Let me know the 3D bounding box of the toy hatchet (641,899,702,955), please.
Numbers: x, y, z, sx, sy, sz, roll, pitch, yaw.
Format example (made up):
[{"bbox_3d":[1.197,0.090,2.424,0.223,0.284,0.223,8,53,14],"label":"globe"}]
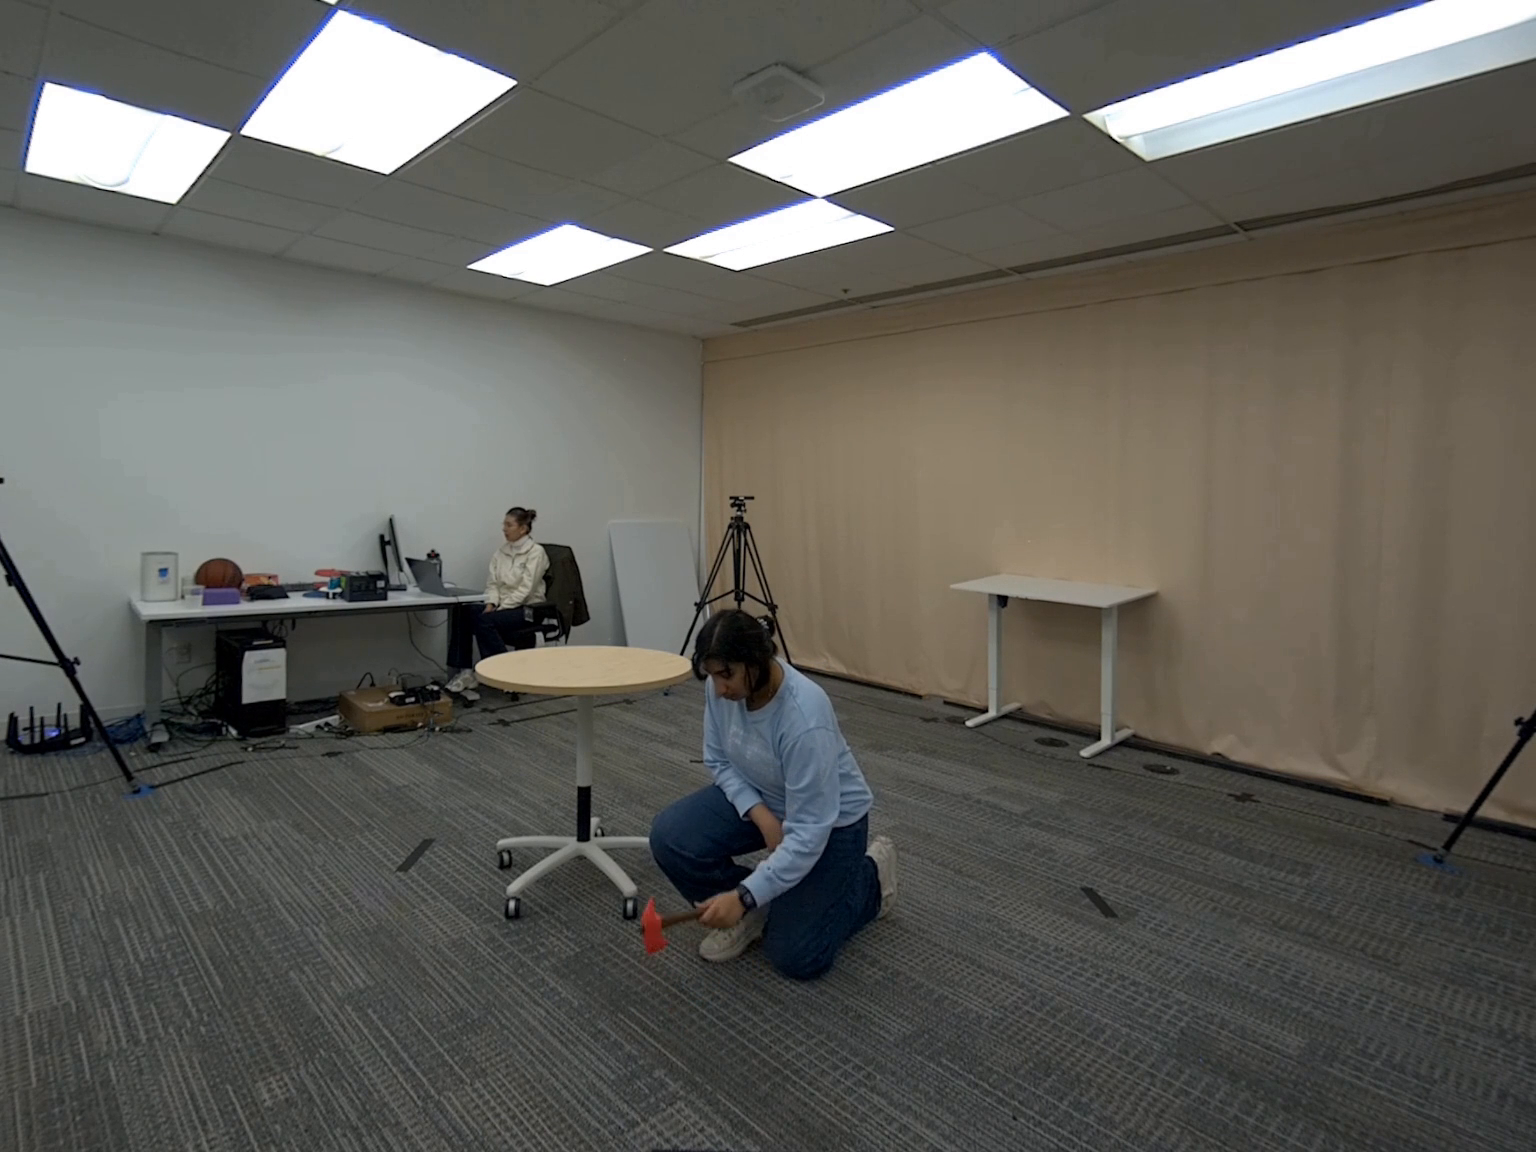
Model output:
[{"bbox_3d":[-0.202,0.879,2.091,0.263,0.131,0.030,24,-11,-28],"label":"toy hatchet"}]
